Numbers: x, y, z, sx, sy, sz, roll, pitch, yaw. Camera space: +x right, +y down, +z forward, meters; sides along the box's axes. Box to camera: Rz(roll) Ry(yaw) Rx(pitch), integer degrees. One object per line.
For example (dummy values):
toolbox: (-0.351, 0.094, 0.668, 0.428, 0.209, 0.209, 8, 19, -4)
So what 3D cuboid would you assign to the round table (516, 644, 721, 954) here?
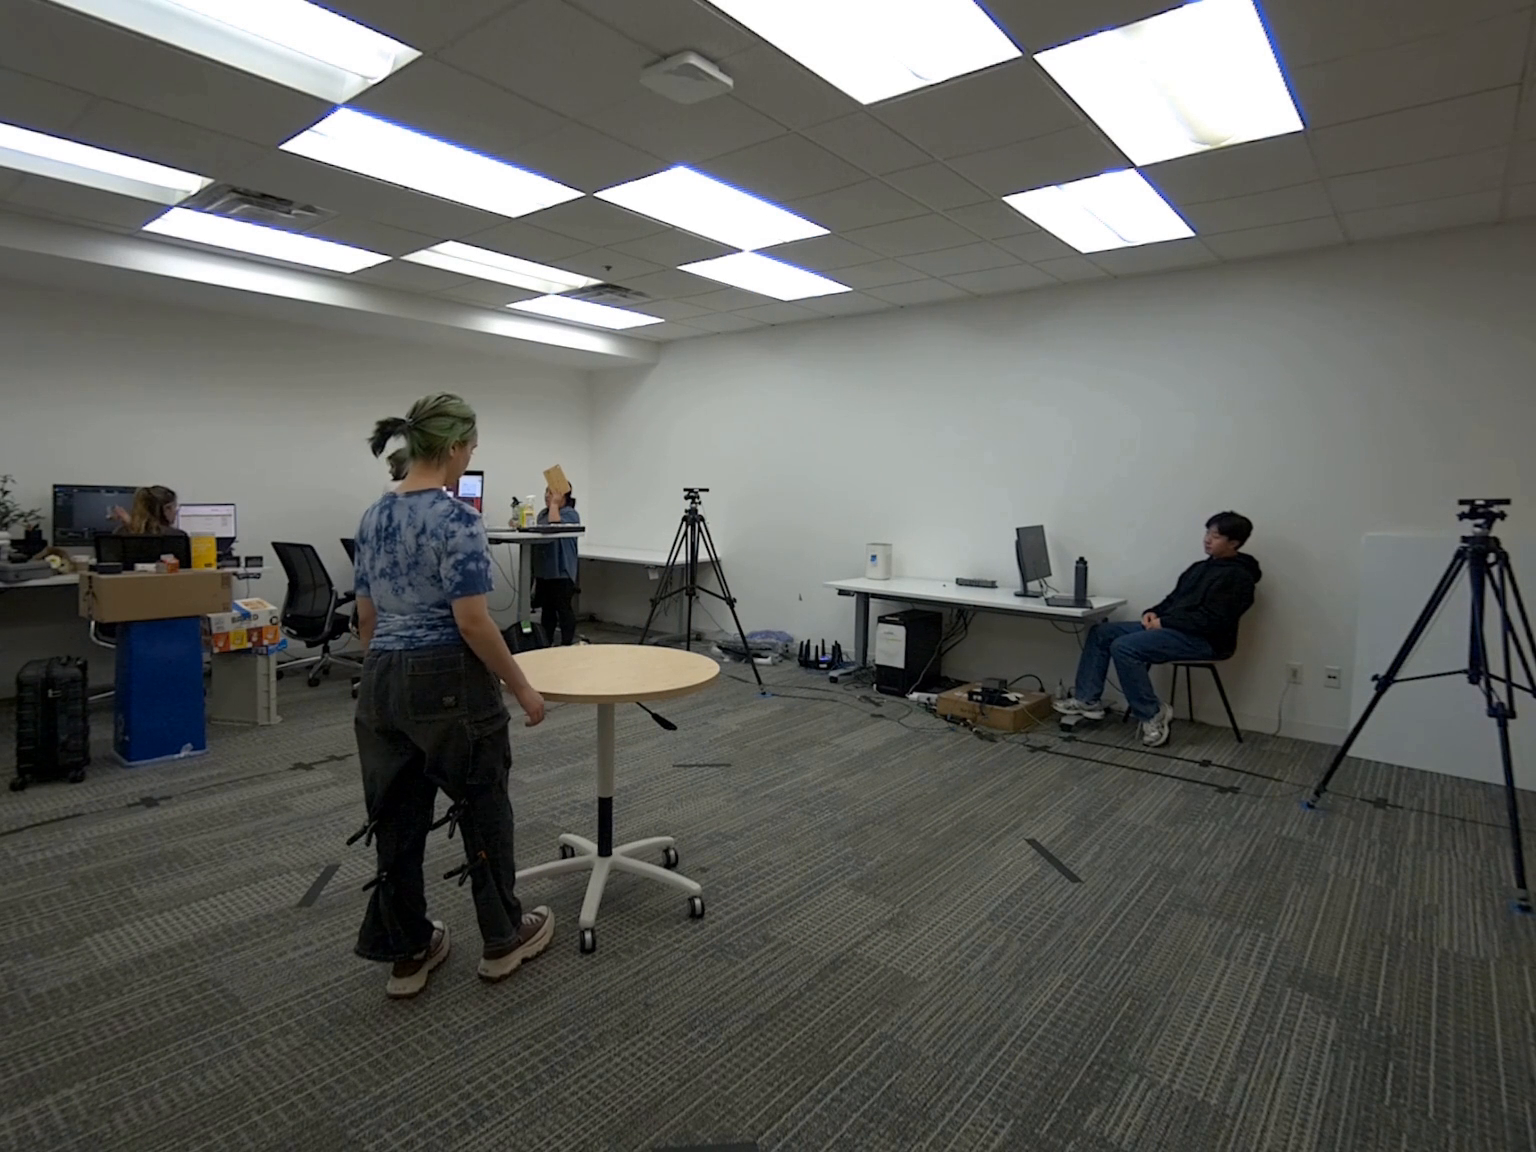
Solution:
round table: (-0.557, 0.697, 2.881, 0.763, 0.791, 0.768, 1, 4, -2)
